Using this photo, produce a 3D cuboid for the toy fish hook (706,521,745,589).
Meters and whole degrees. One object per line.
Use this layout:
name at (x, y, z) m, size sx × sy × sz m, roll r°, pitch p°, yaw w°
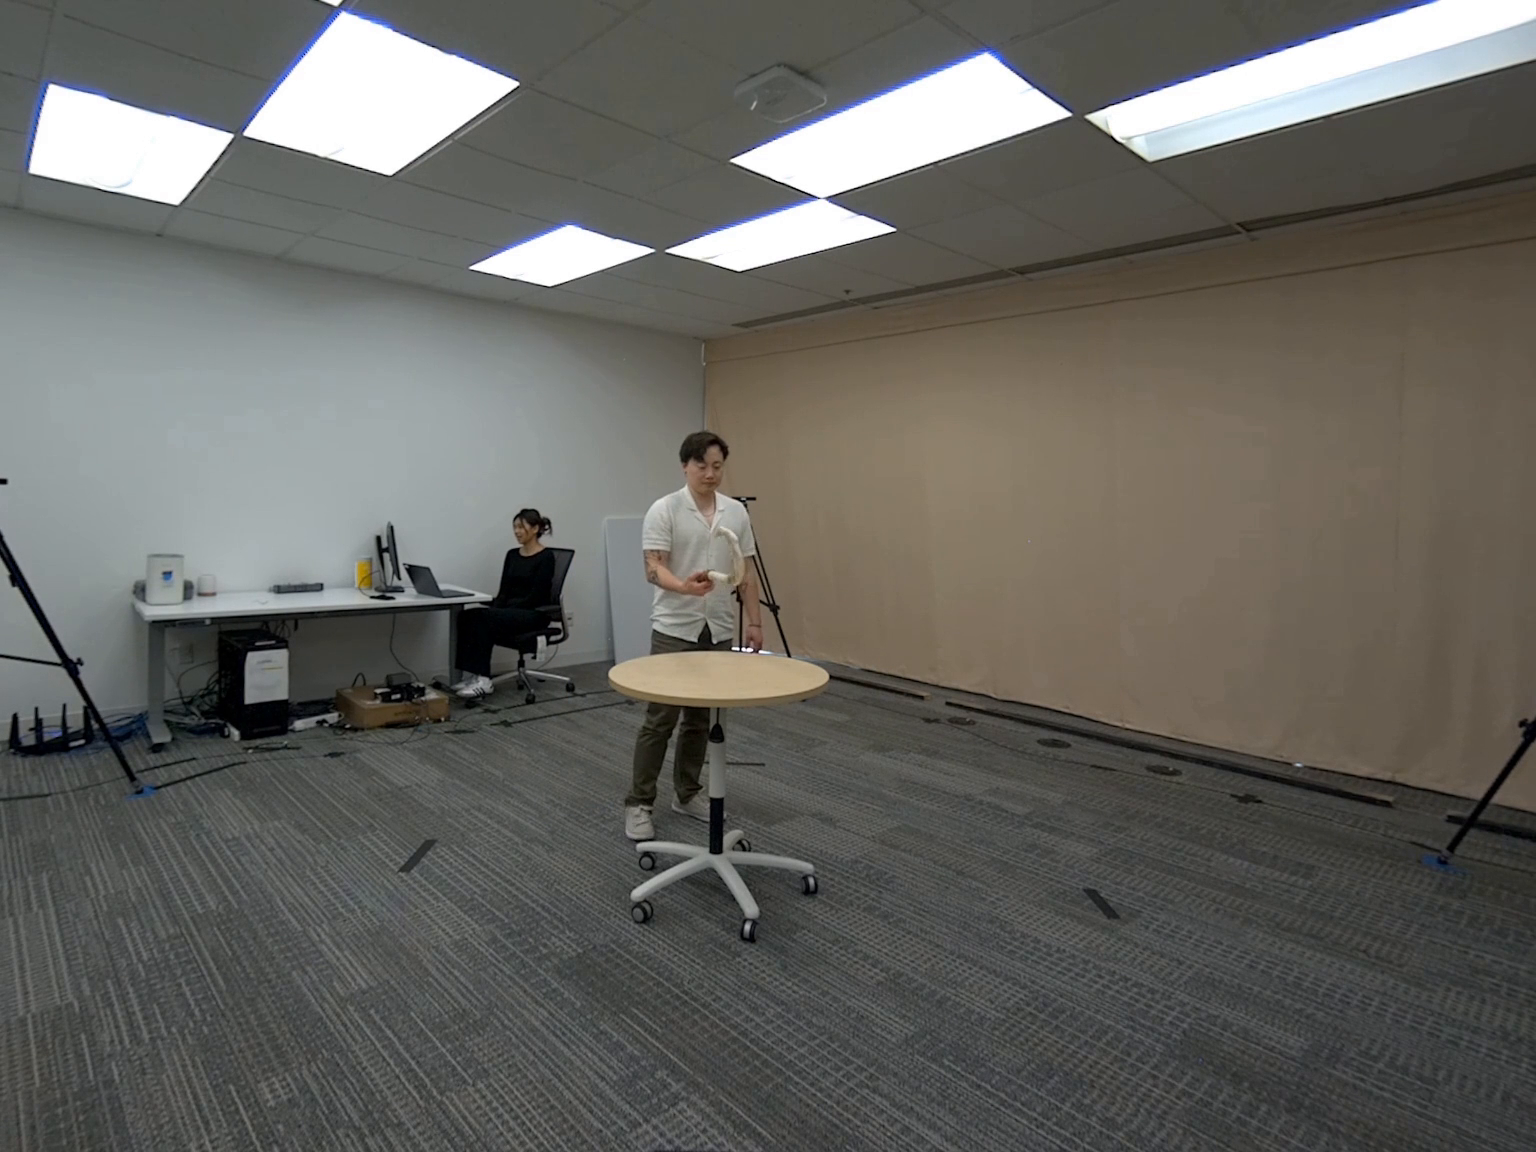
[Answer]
toy fish hook at (-0.212, -0.057, 3.154) m, size 0.047 × 0.226 × 0.512 m, roll -2°, pitch -7°, yaw -25°
